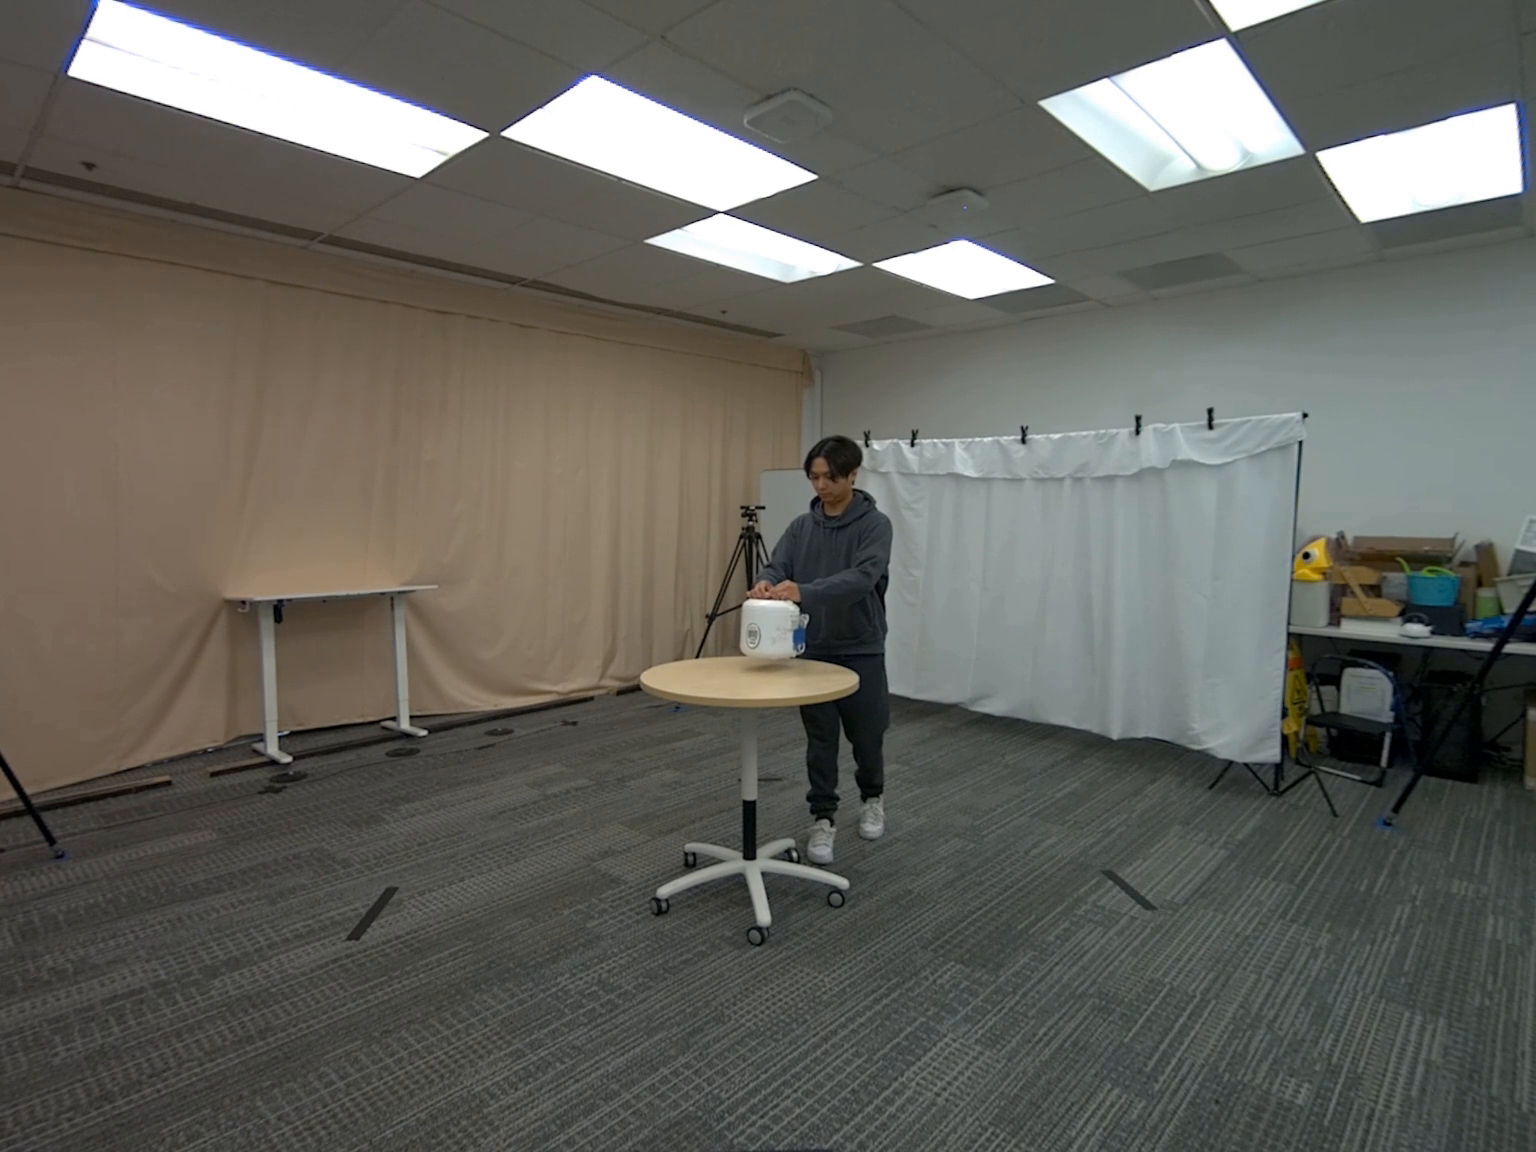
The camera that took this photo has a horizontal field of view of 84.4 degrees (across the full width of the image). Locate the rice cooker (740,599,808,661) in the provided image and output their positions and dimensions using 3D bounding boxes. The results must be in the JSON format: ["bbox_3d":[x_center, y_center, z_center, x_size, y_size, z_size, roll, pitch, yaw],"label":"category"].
[{"bbox_3d":[0.013,0.176,3.066,0.227,0.233,0.210,3,-1,35],"label":"rice cooker"}]
